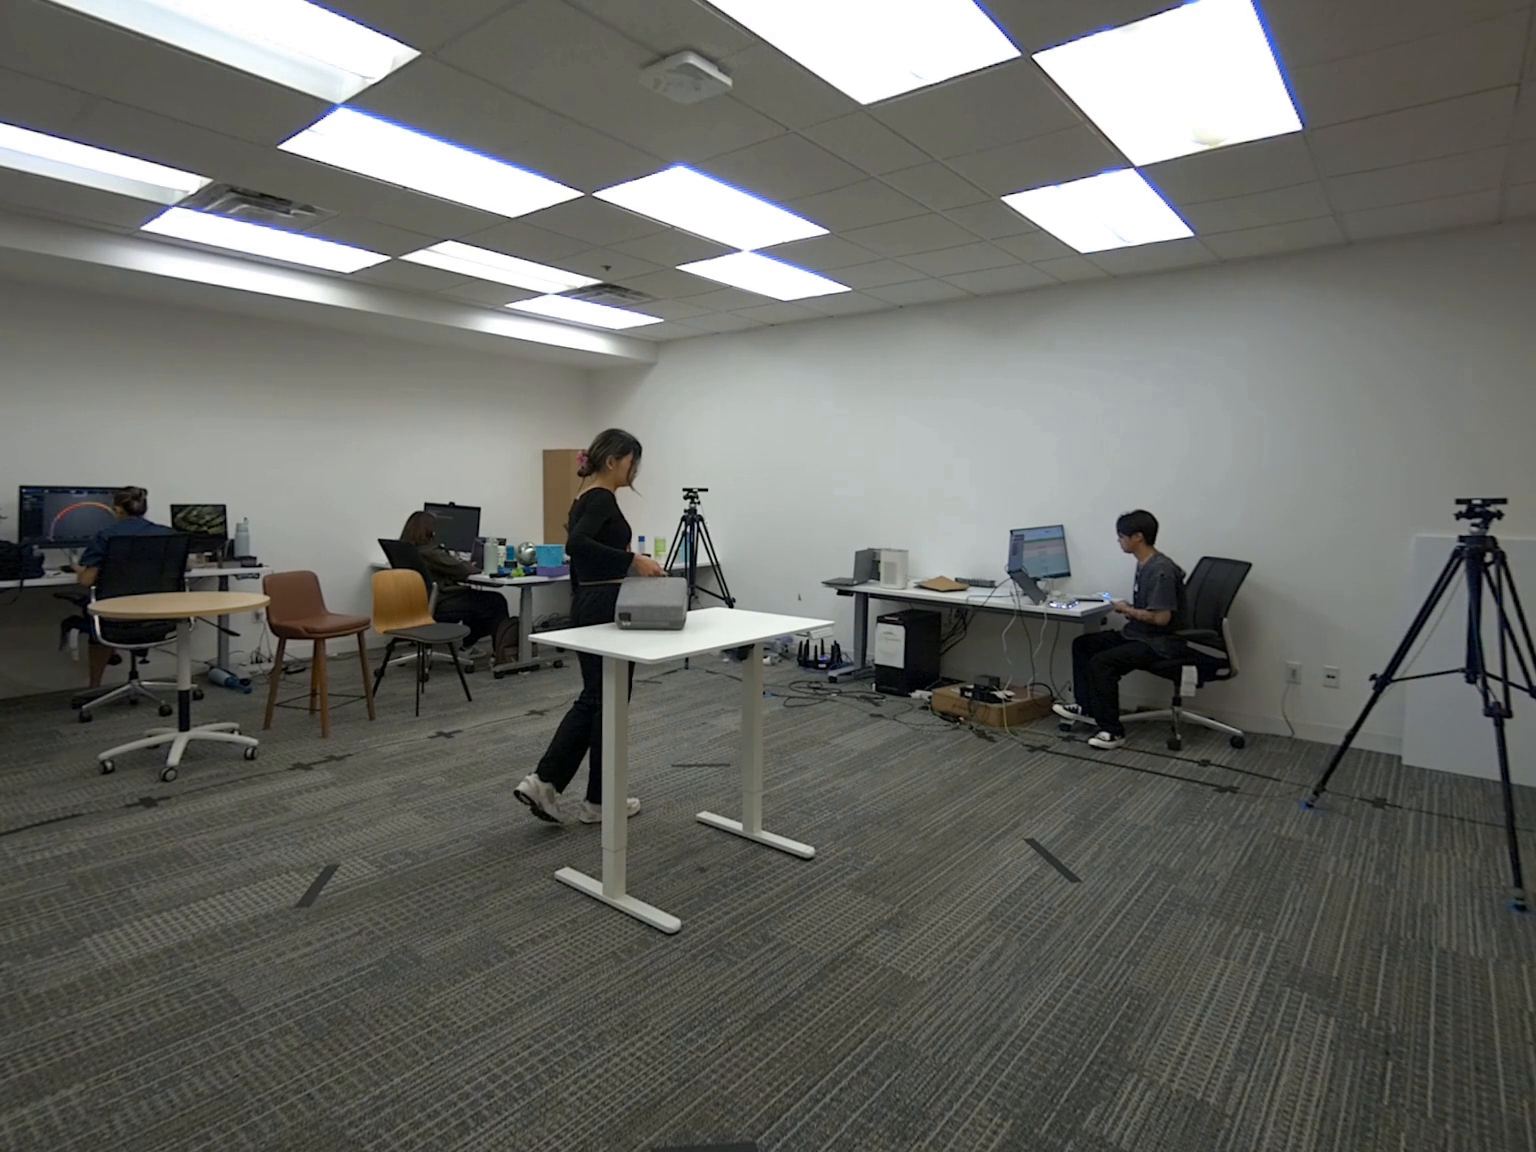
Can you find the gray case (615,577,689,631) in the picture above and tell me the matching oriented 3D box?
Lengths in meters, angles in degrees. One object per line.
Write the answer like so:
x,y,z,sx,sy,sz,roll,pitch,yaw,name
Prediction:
-0.433,0.092,3.135,0.256,0.102,0.267,-1,27,-2,gray case
